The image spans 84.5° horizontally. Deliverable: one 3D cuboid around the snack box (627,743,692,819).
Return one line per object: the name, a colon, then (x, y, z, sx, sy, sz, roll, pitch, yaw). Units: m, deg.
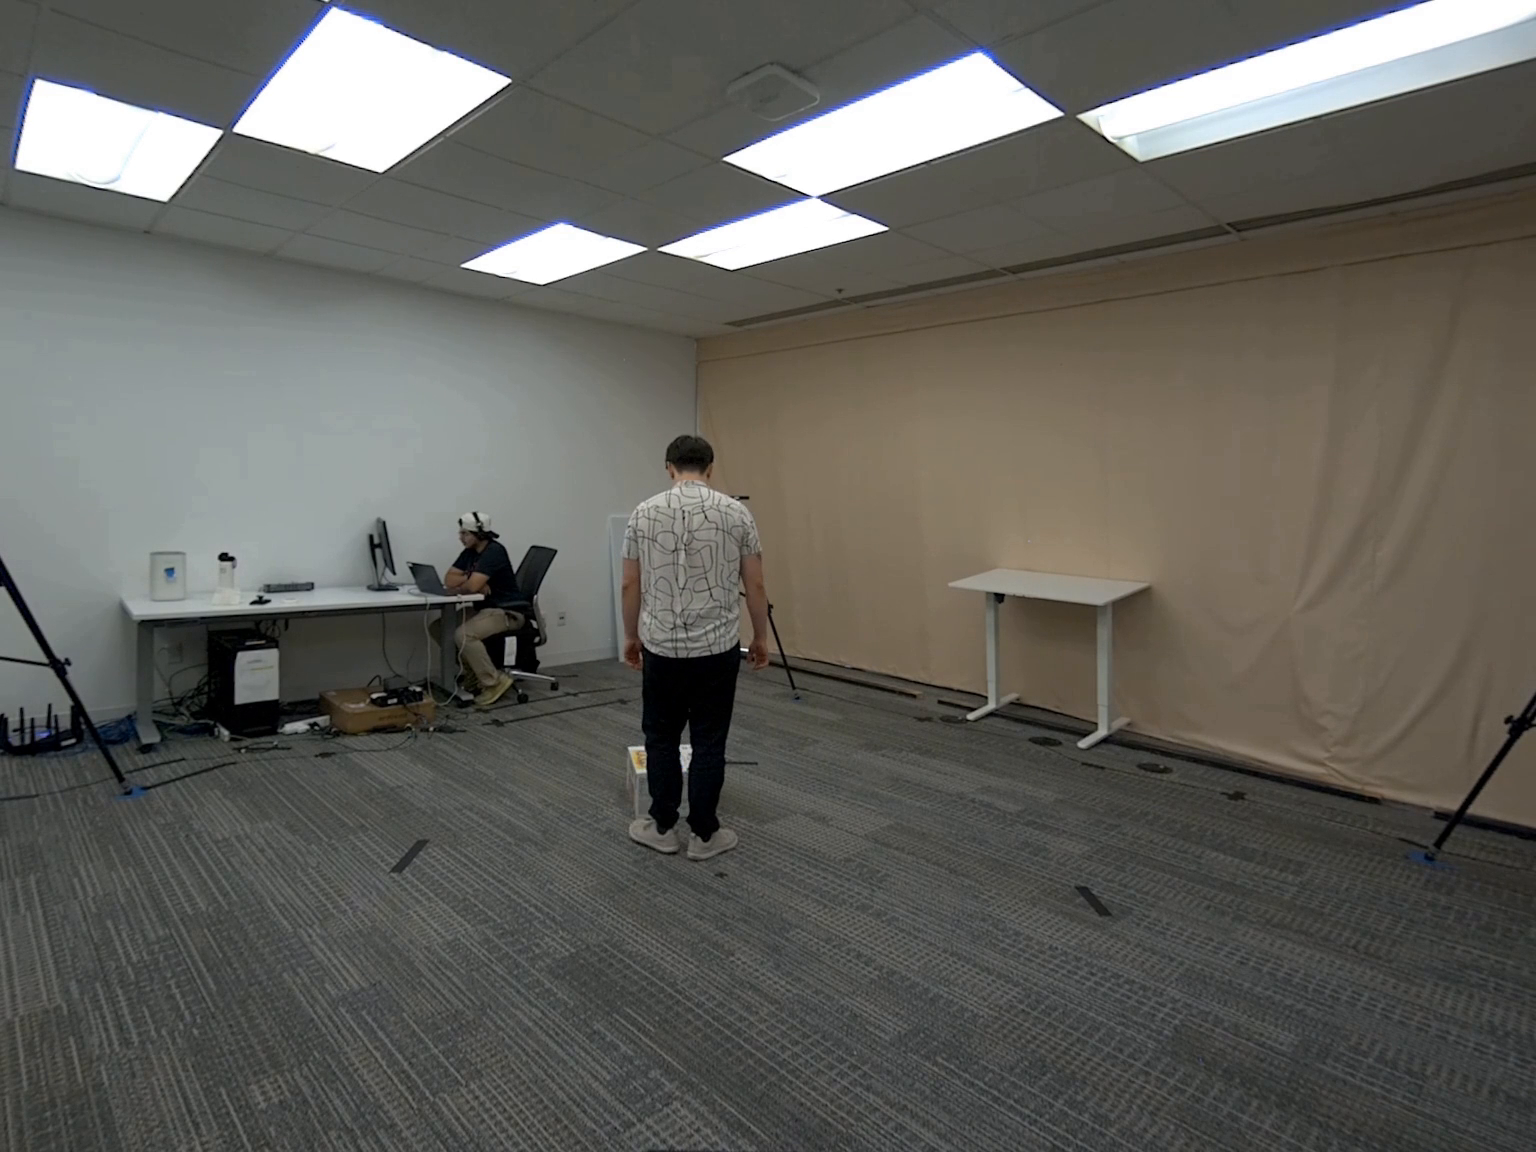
snack box: (-0.461, 0.933, 3.841, 0.337, 0.205, 0.410, 0, 5, -14)
